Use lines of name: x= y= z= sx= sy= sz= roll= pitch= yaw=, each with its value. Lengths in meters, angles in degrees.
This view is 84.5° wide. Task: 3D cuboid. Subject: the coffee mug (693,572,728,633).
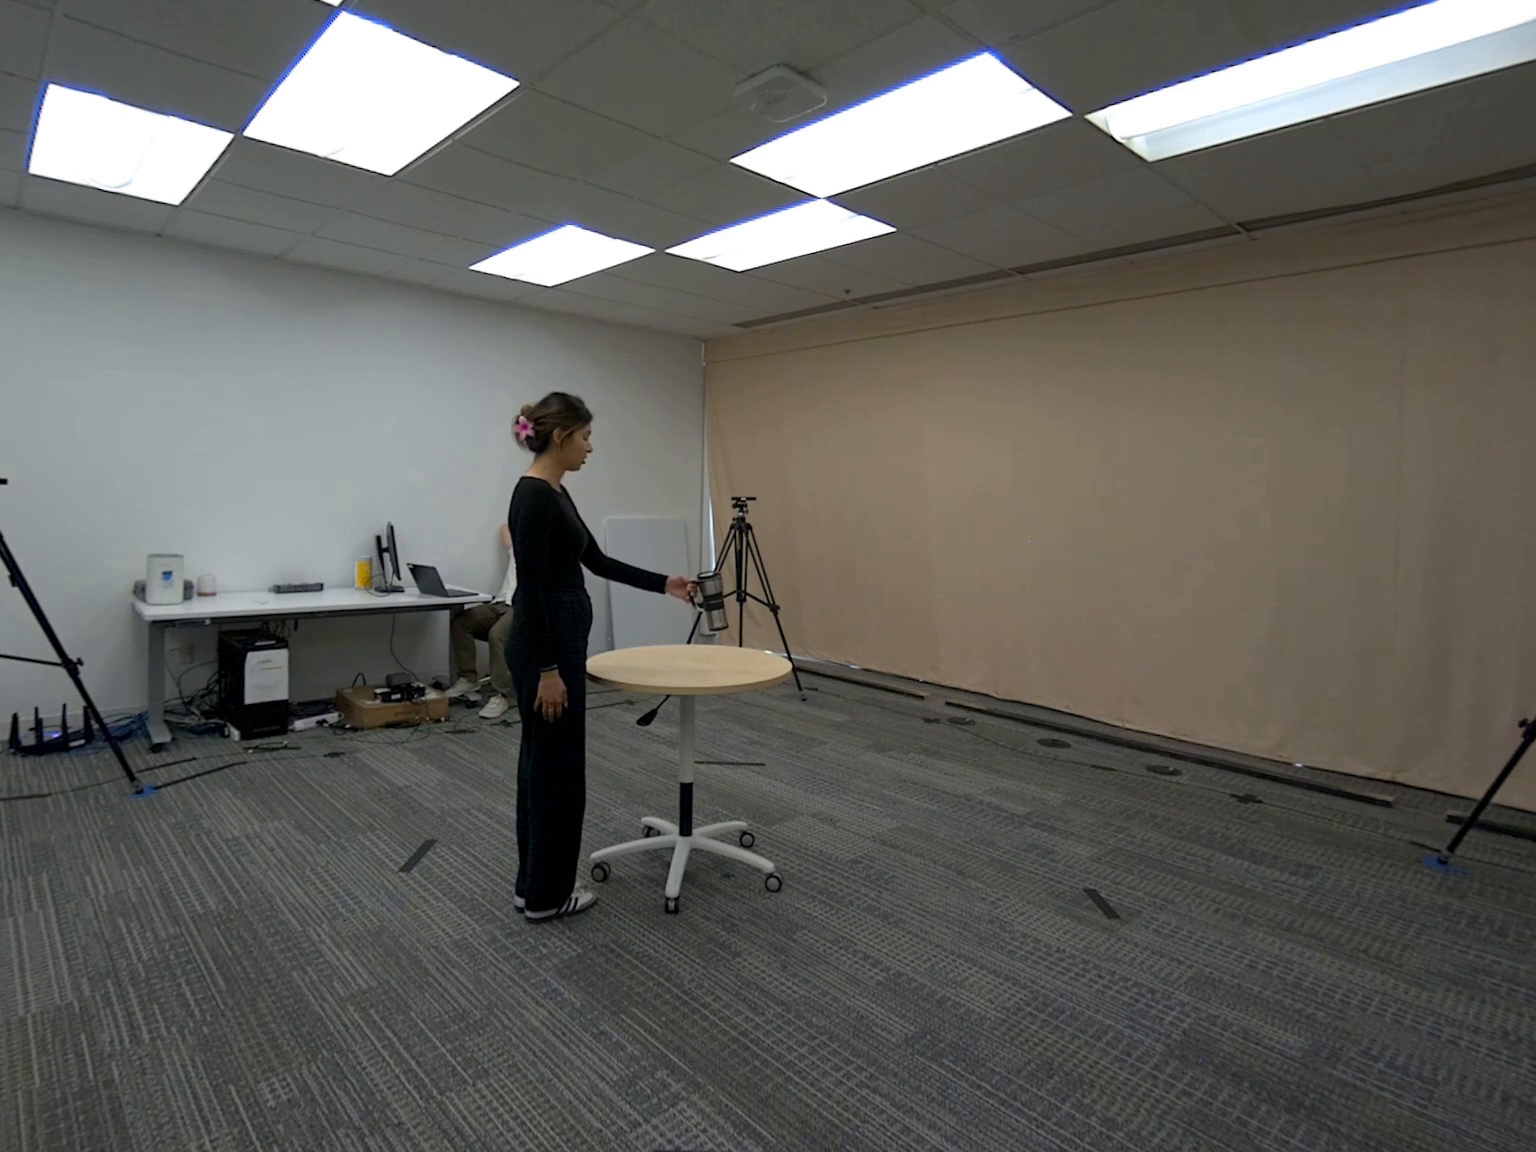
coffee mug: x=-0.223 y=0.092 z=2.964 sx=0.124 sy=0.201 sz=0.087 roll=-4 pitch=10 yaw=31
